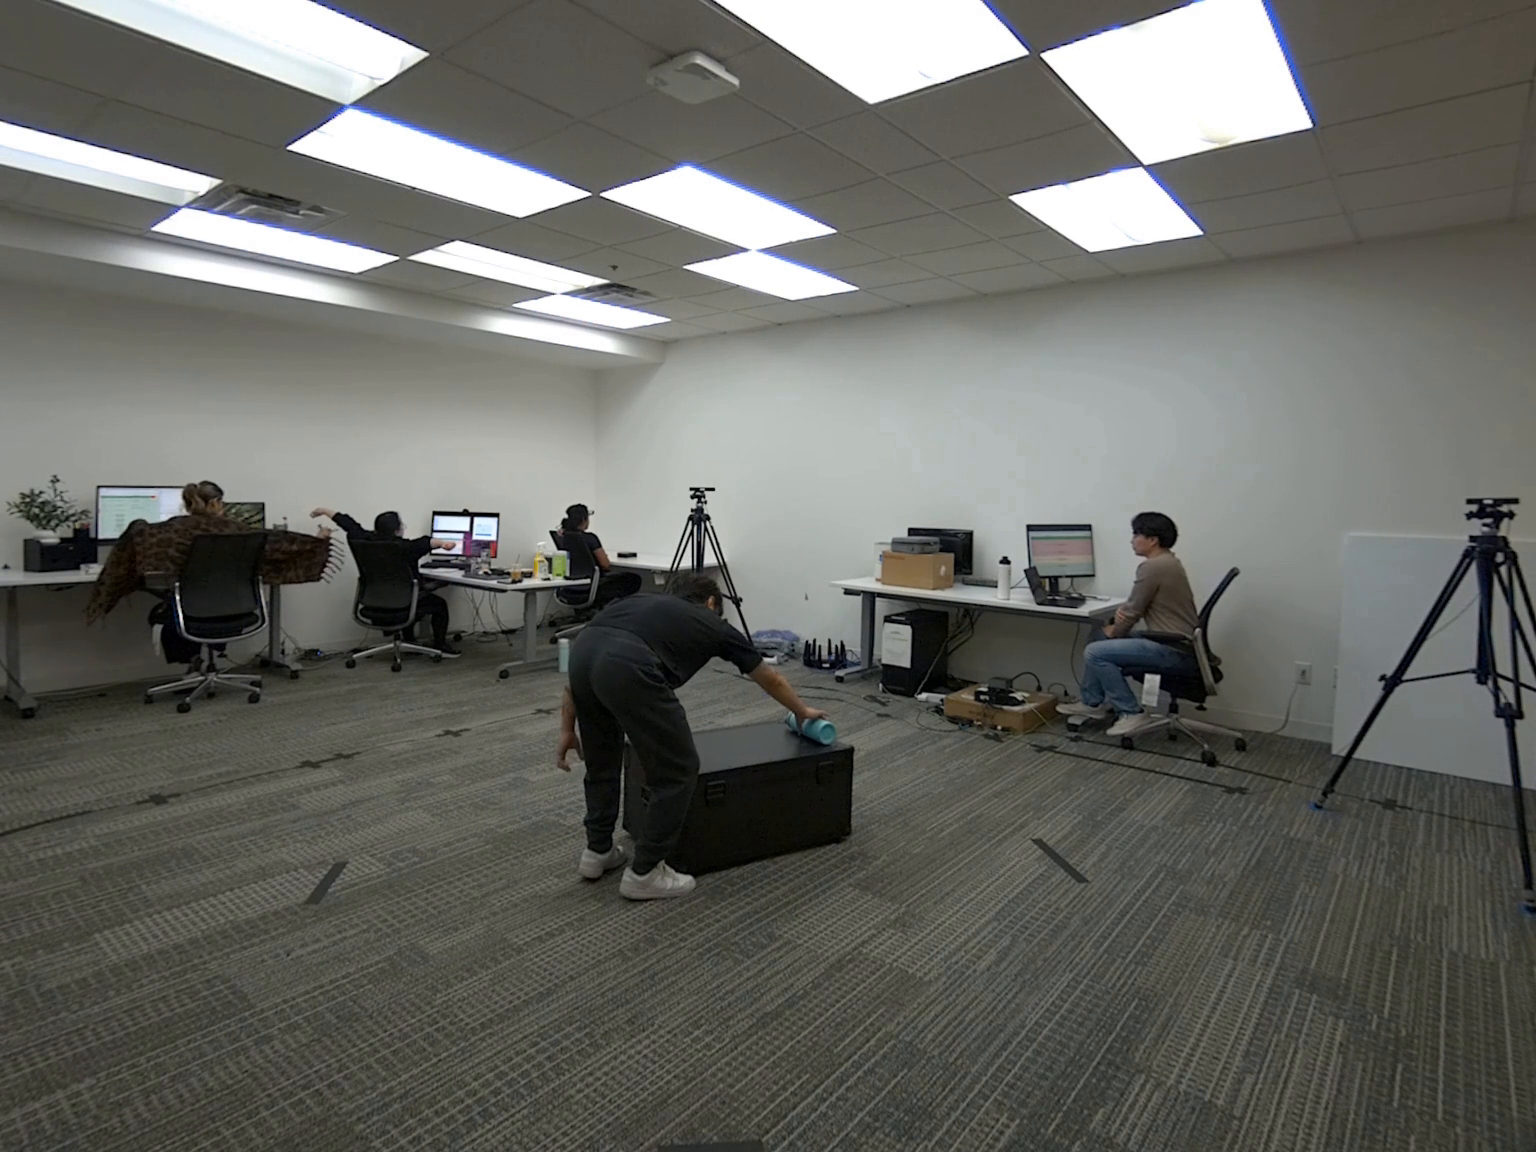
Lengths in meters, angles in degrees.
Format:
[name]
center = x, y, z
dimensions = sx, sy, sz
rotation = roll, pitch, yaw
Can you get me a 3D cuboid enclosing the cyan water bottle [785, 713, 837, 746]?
[cyan water bottle]
center = 0.150, 0.611, 3.517
dimensions = 0.090, 0.092, 0.292
rotation = -1, 6, -30
